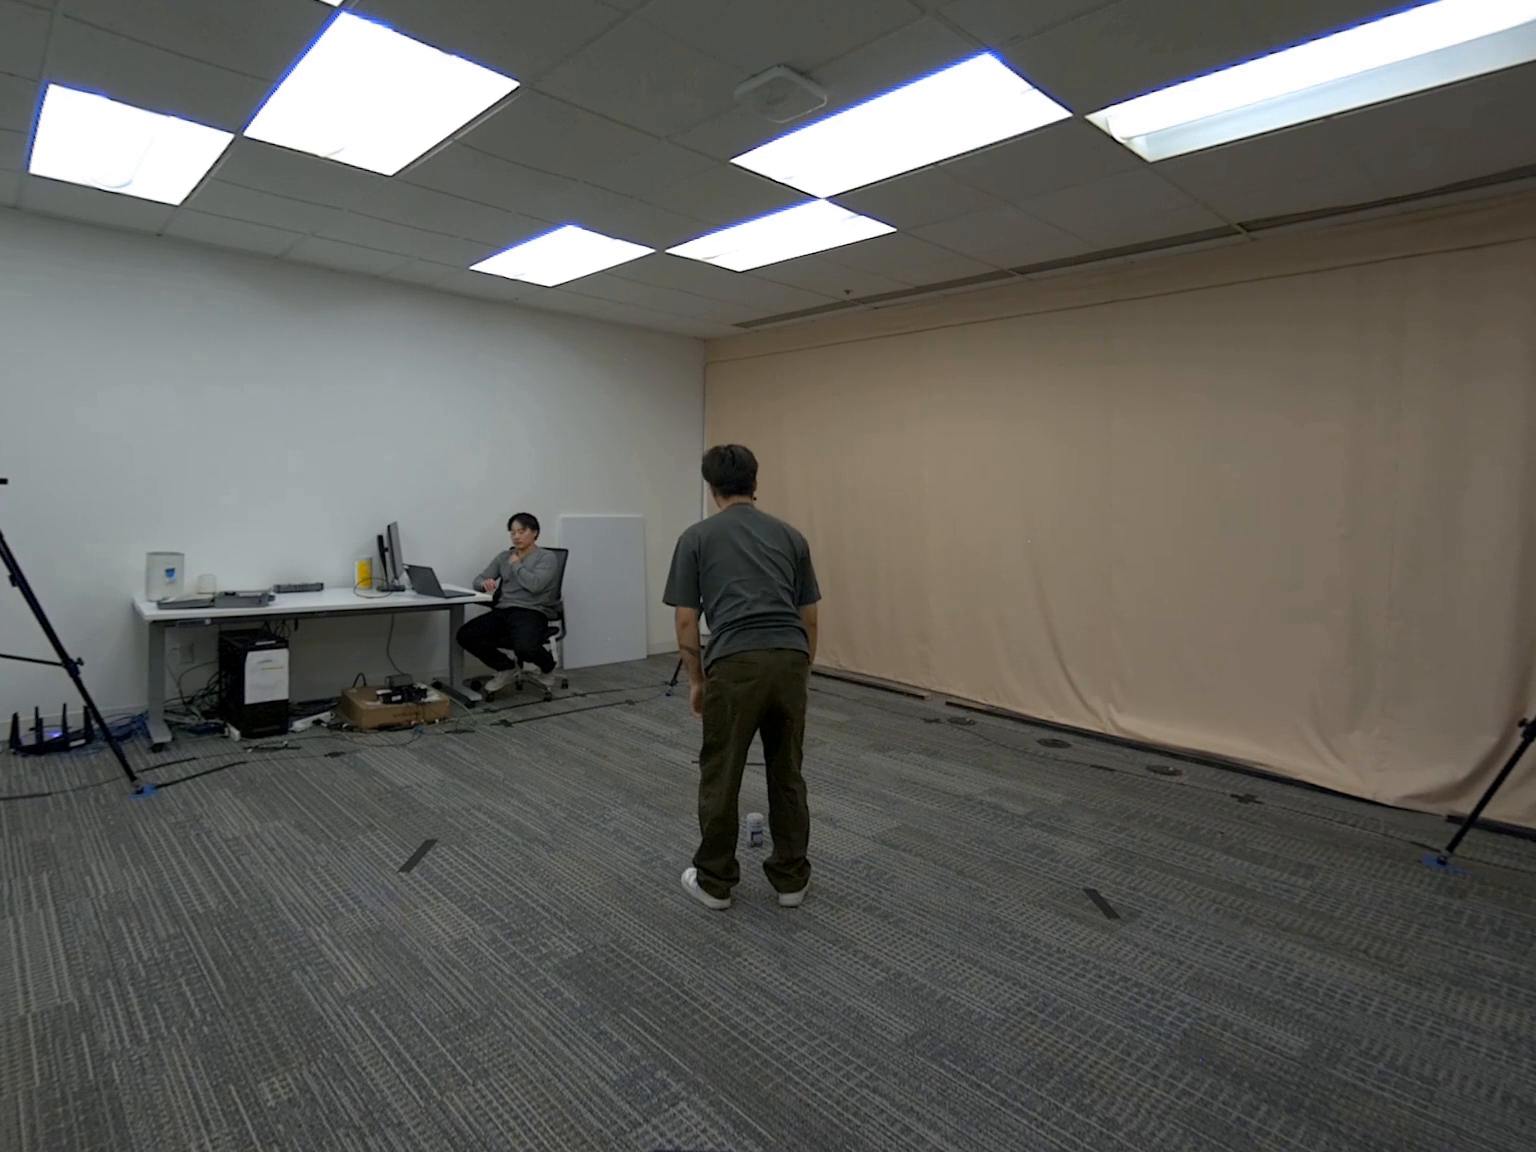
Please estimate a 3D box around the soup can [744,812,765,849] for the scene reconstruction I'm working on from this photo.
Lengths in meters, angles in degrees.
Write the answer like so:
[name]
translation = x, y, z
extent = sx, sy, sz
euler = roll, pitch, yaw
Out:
[soup can]
translation = -0.063, 1.022, 3.387
extent = 0.067, 0.121, 0.067
euler = 1, 3, -1
